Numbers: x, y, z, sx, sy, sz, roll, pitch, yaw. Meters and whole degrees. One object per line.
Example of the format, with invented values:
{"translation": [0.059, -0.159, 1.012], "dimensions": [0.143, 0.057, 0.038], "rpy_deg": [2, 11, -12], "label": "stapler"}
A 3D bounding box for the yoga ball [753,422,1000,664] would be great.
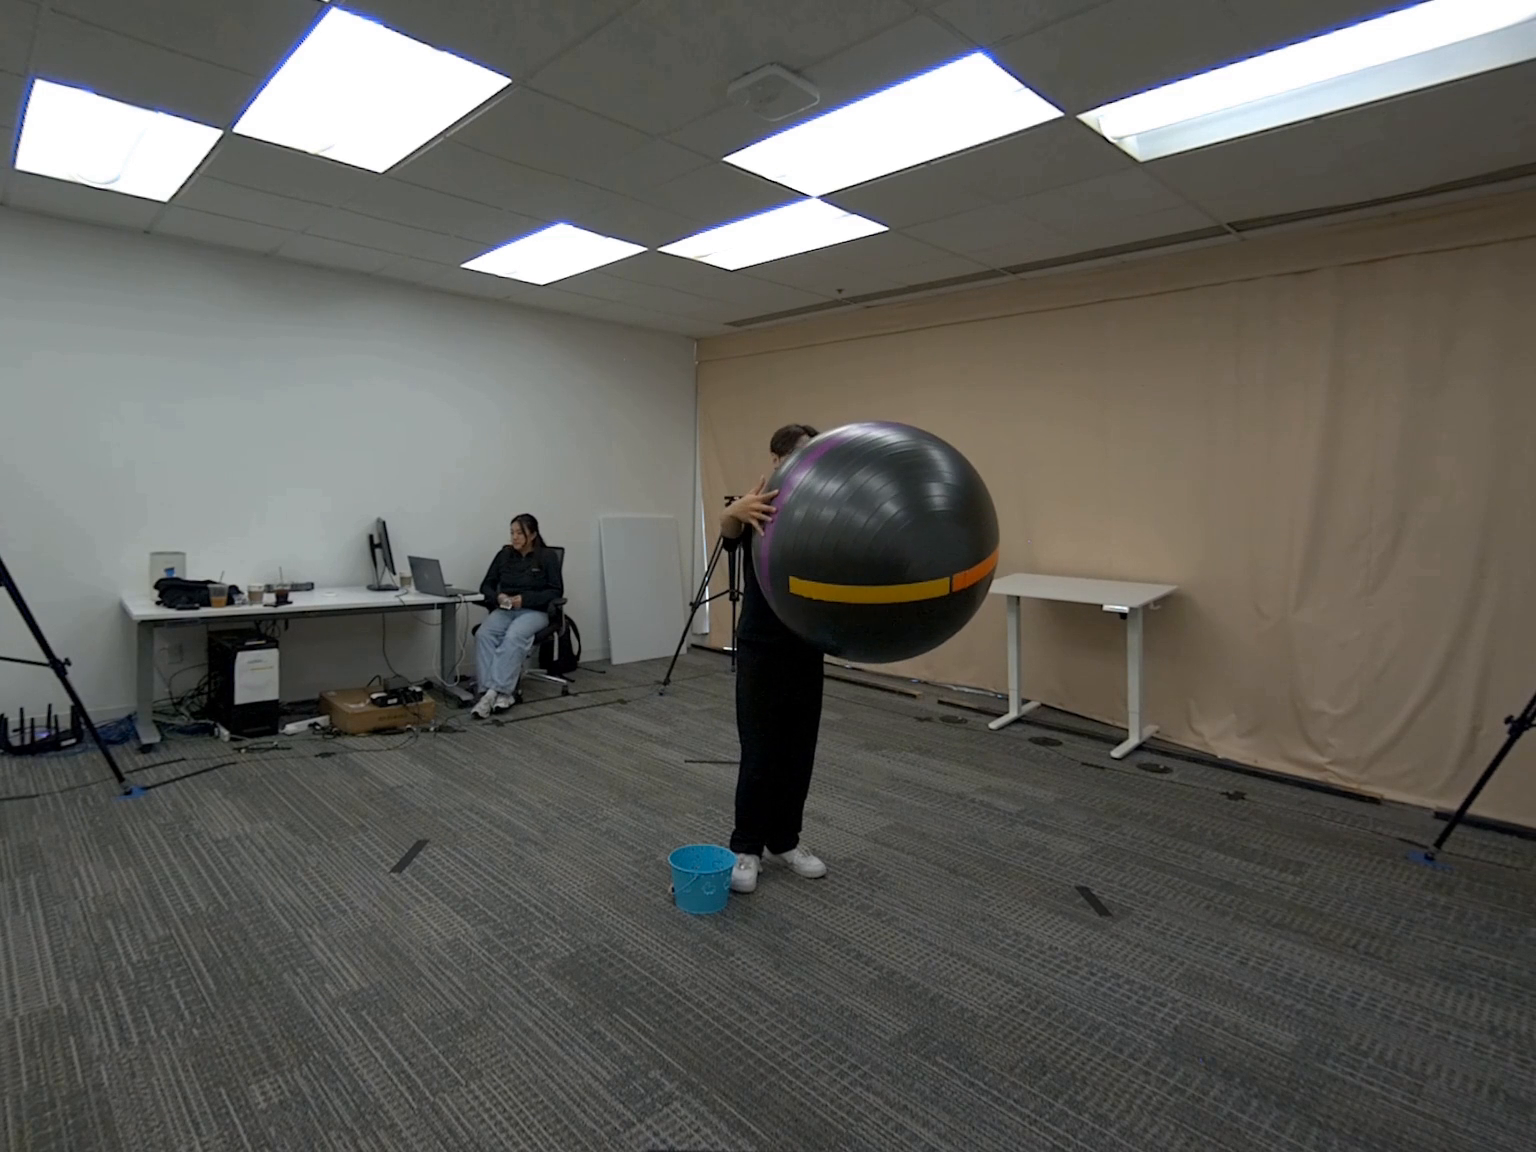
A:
{"translation": [0.325, -0.100, 2.637], "dimensions": [0.757, 0.756, 0.761], "rpy_deg": [1, 4, -1], "label": "yoga ball"}
